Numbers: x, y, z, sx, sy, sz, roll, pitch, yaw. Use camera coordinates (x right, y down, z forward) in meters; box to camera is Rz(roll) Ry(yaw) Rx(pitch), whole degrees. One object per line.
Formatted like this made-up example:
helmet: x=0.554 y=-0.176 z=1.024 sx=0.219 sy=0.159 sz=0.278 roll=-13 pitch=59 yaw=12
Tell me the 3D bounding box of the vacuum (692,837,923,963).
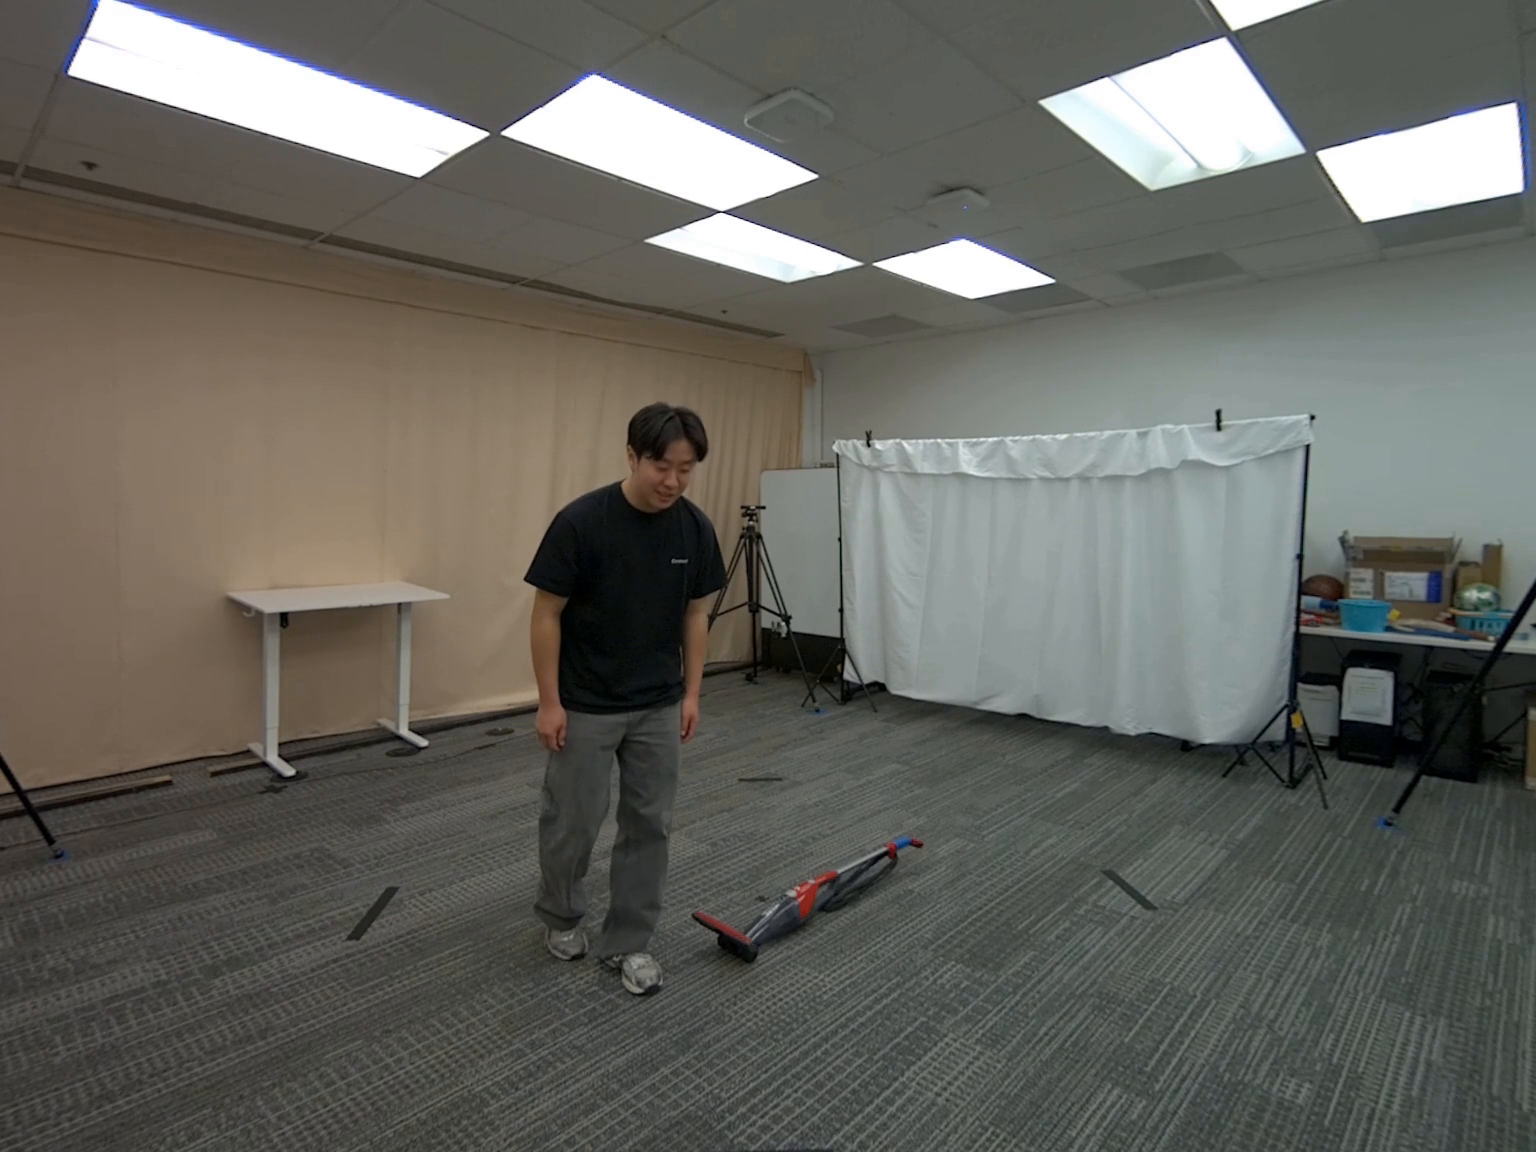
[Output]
vacuum: x=0.238 y=1.094 z=2.932 sx=1.017 sy=0.143 sz=0.261 roll=-5 pitch=7 yaw=-44
